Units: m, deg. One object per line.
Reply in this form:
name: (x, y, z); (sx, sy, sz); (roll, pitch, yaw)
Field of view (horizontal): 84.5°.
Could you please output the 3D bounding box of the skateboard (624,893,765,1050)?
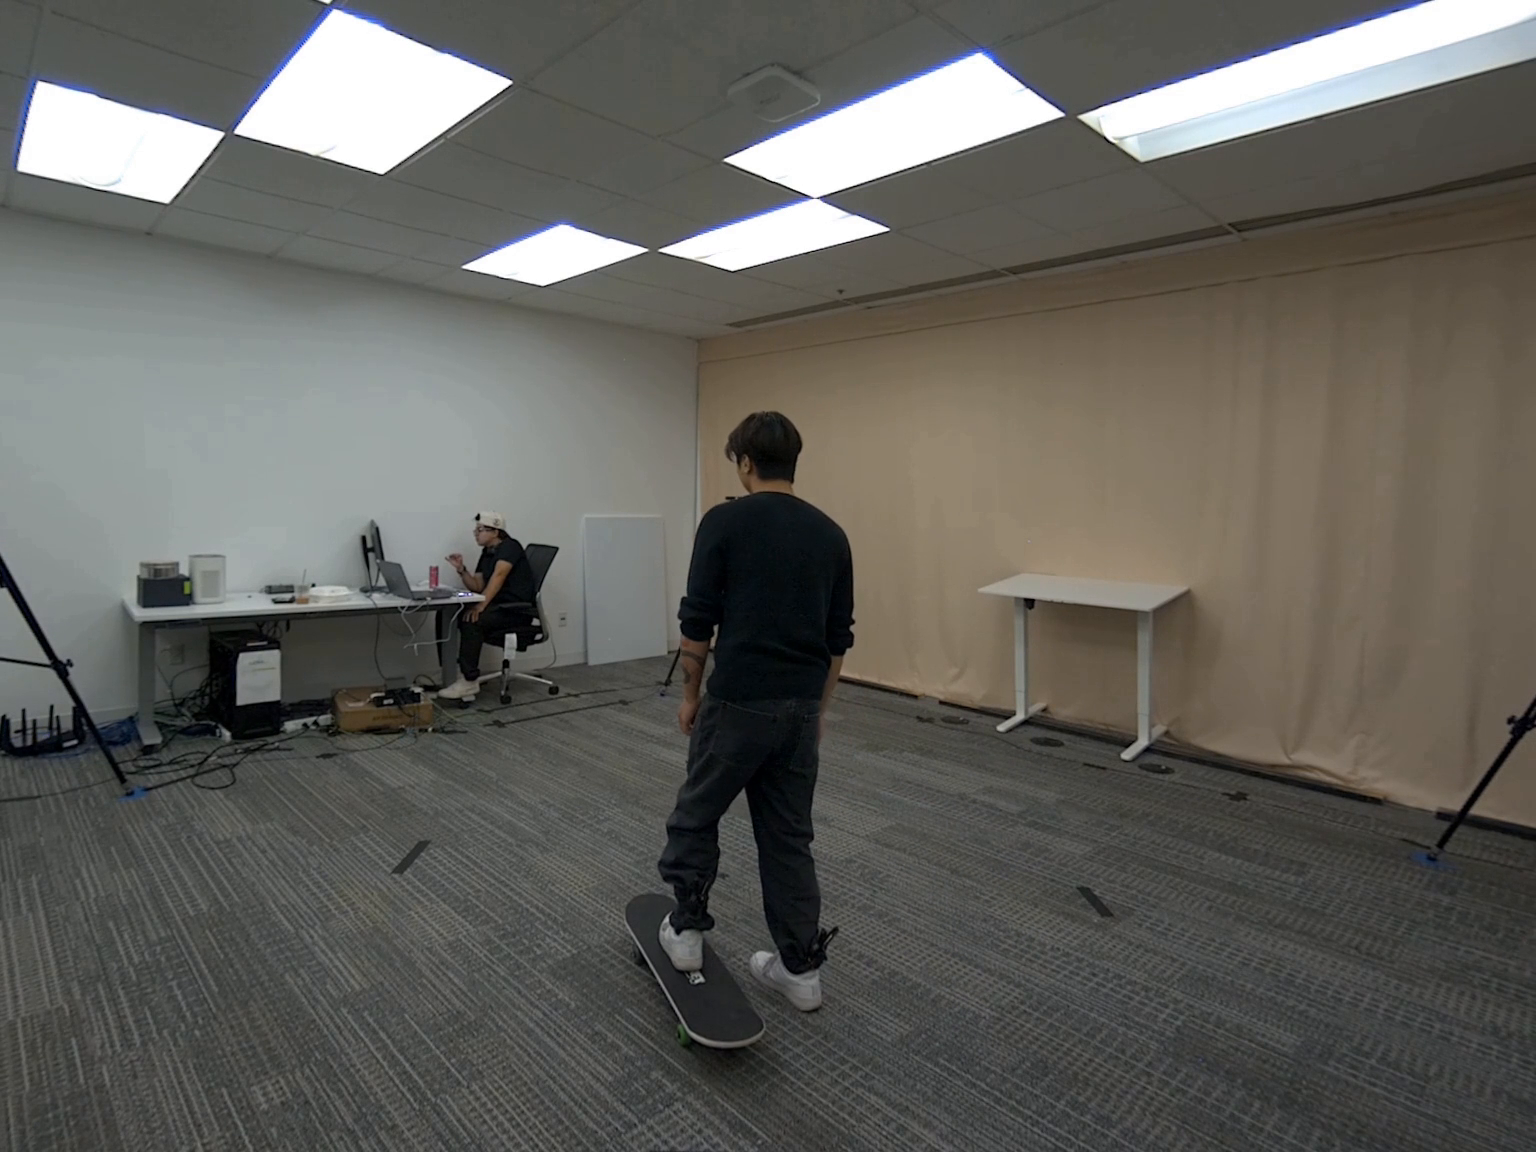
skateboard: (-0.236, 1.117, 2.360); (0.190, 0.110, 0.801); (0, 6, -24)
